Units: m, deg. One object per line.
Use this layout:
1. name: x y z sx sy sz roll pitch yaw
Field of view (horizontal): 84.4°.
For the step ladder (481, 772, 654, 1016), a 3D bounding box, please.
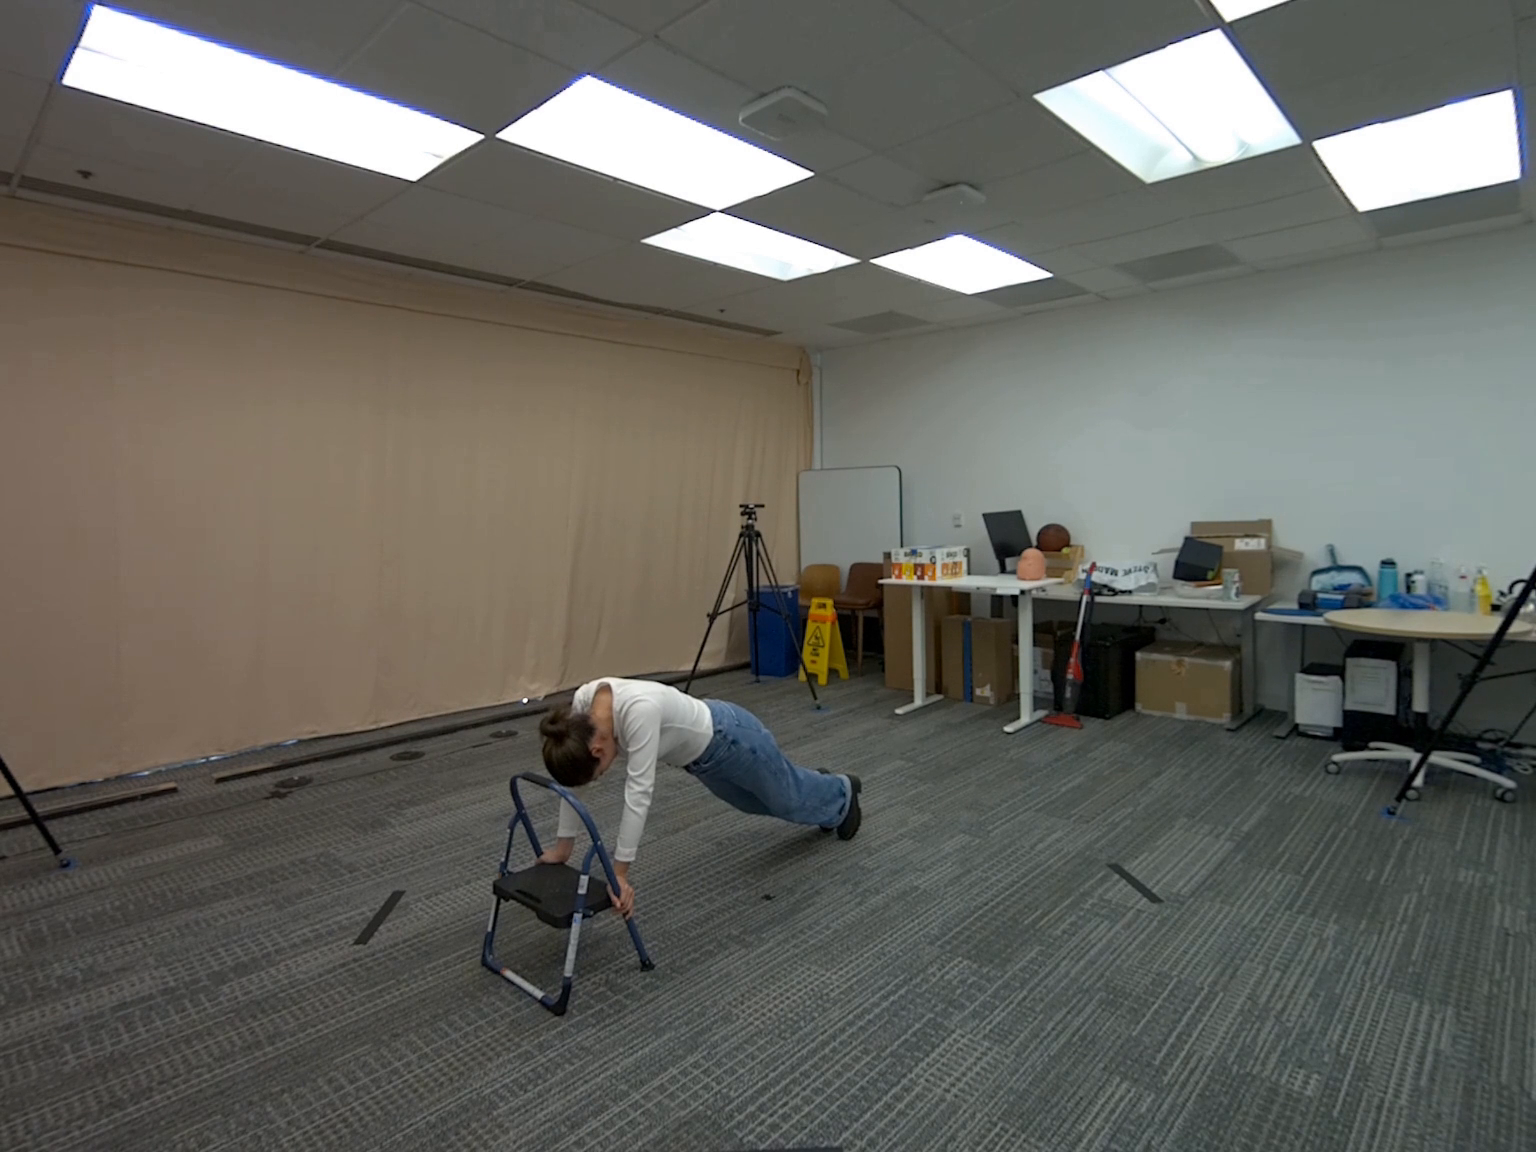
1. step ladder: -0.622 0.891 2.548 0.445 0.605 0.339 2 4 41
